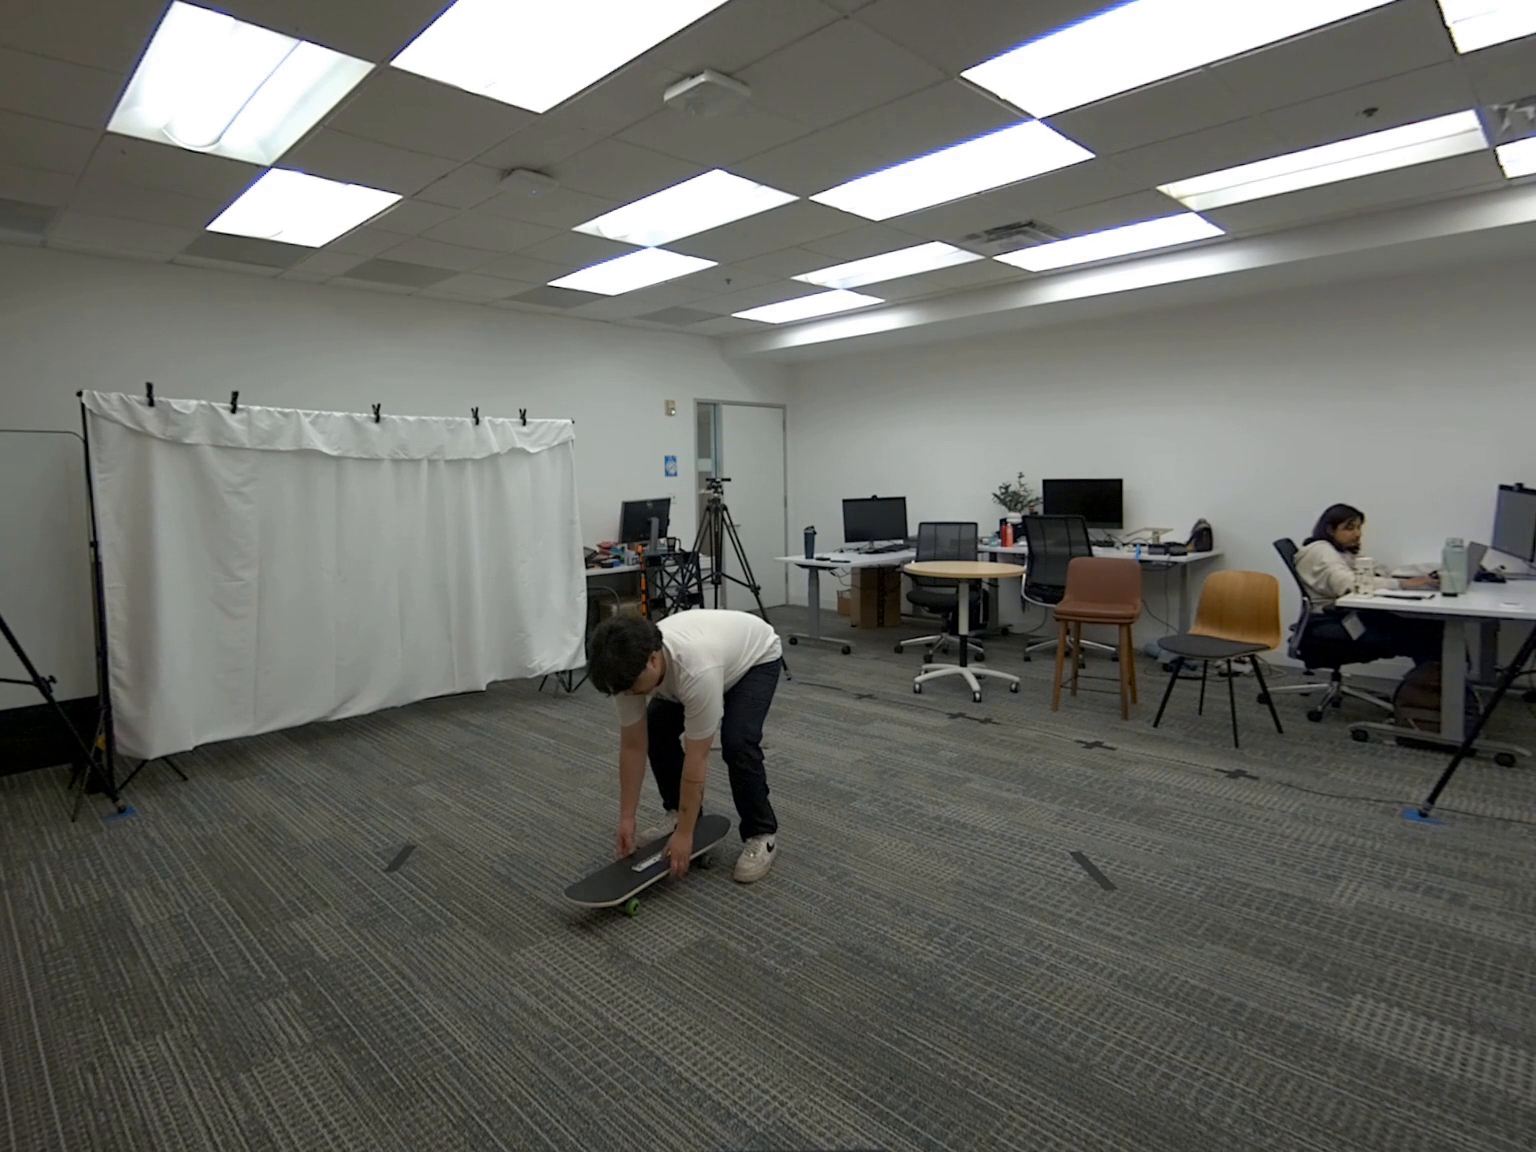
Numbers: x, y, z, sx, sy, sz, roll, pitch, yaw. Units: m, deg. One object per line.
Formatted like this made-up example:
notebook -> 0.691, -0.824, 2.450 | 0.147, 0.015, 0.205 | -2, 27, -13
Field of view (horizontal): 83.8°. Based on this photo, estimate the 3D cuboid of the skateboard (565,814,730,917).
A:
skateboard -> -0.391, 1.010, 2.955 | 0.199, 0.110, 0.767 | 2, 7, 32
